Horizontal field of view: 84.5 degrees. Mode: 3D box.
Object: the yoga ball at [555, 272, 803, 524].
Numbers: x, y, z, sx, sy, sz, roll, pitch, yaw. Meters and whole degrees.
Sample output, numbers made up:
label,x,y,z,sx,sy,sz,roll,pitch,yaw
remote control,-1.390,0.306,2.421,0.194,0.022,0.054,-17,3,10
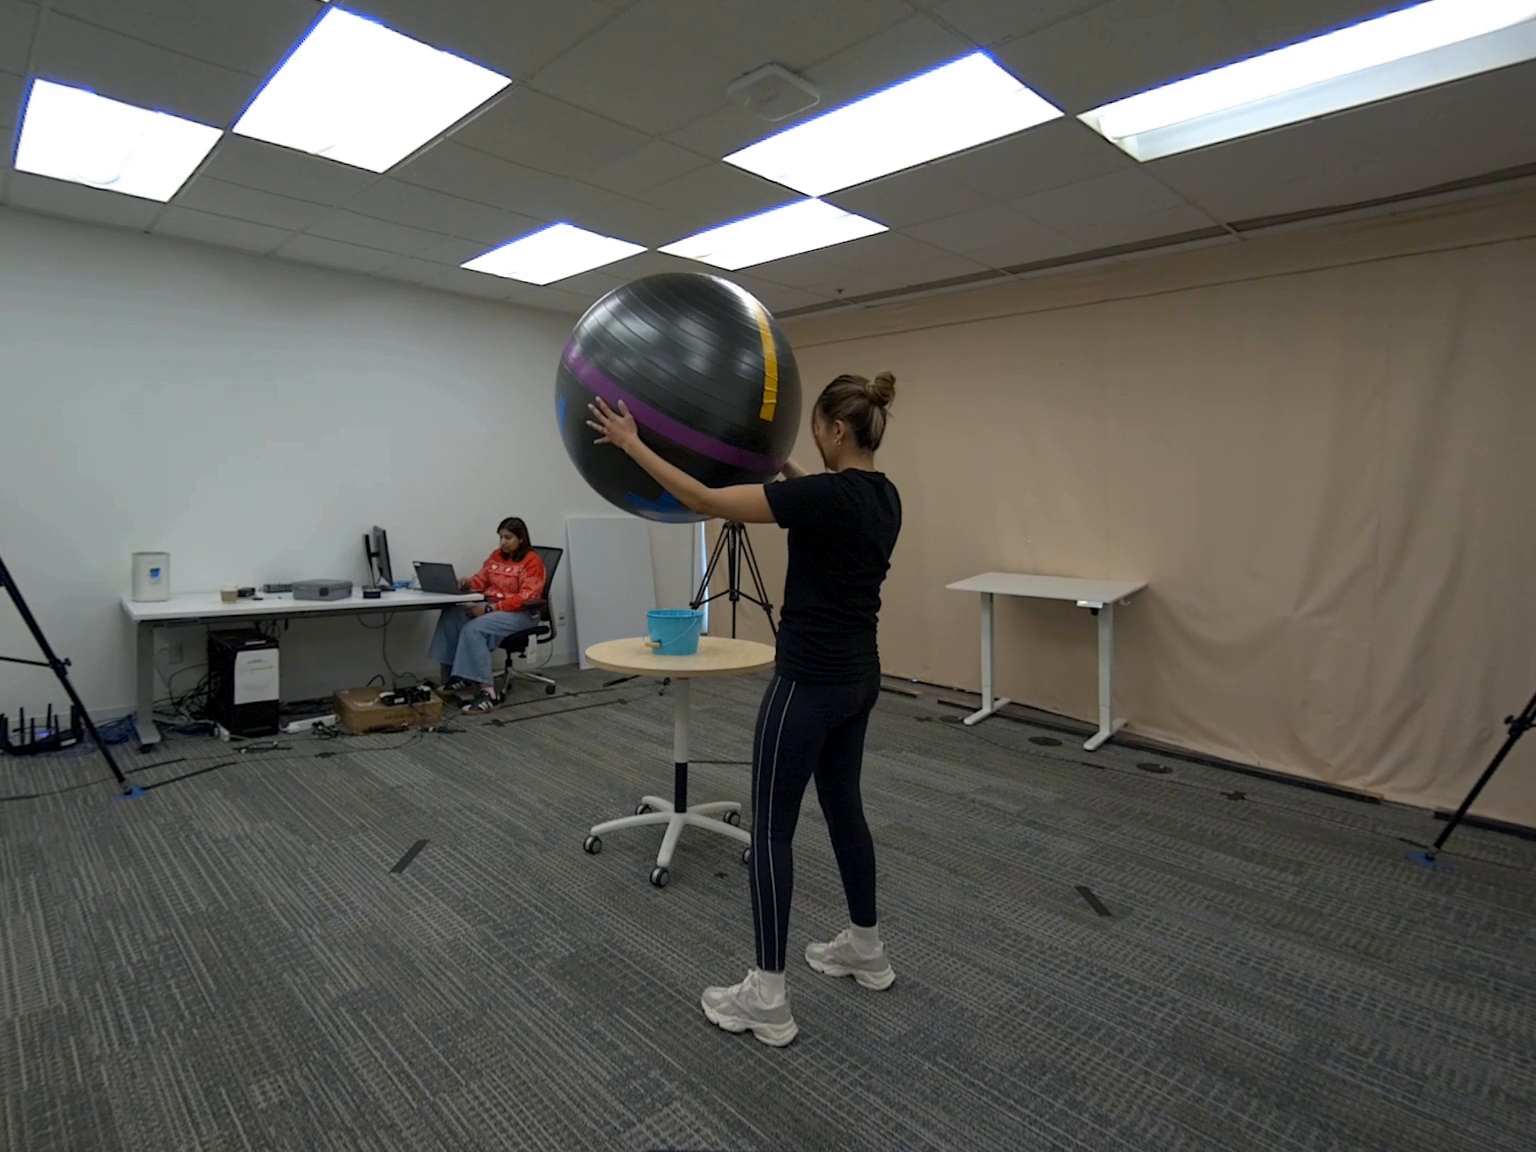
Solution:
label,x,y,z,sx,sy,sz,roll,pitch,yaw
yoga ball,-0.280,-0.535,2.593,0.757,0.756,0.761,1,4,-1
